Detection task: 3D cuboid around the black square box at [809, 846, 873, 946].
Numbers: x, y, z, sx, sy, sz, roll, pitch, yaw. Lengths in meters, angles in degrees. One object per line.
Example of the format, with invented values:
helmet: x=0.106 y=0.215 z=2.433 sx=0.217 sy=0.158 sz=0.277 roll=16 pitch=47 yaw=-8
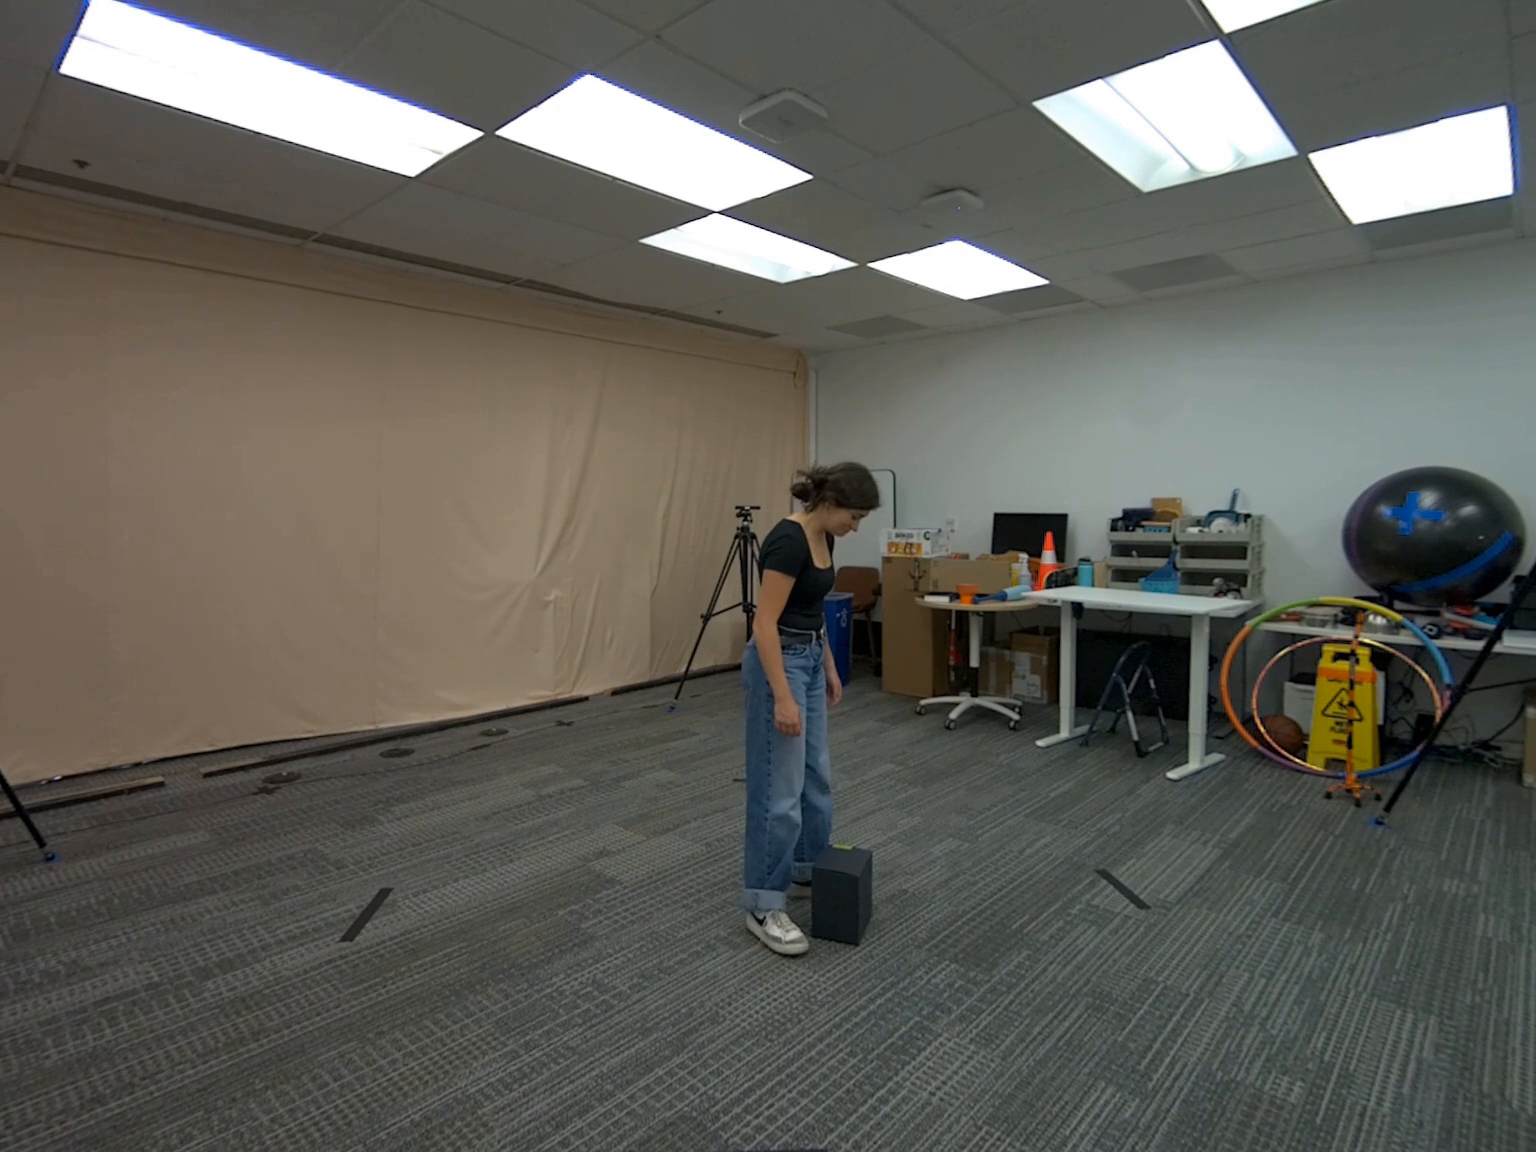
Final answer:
black square box: x=0.262 y=1.041 z=2.778 sx=0.159 sy=0.227 sz=0.213 roll=1 pitch=3 yaw=16
